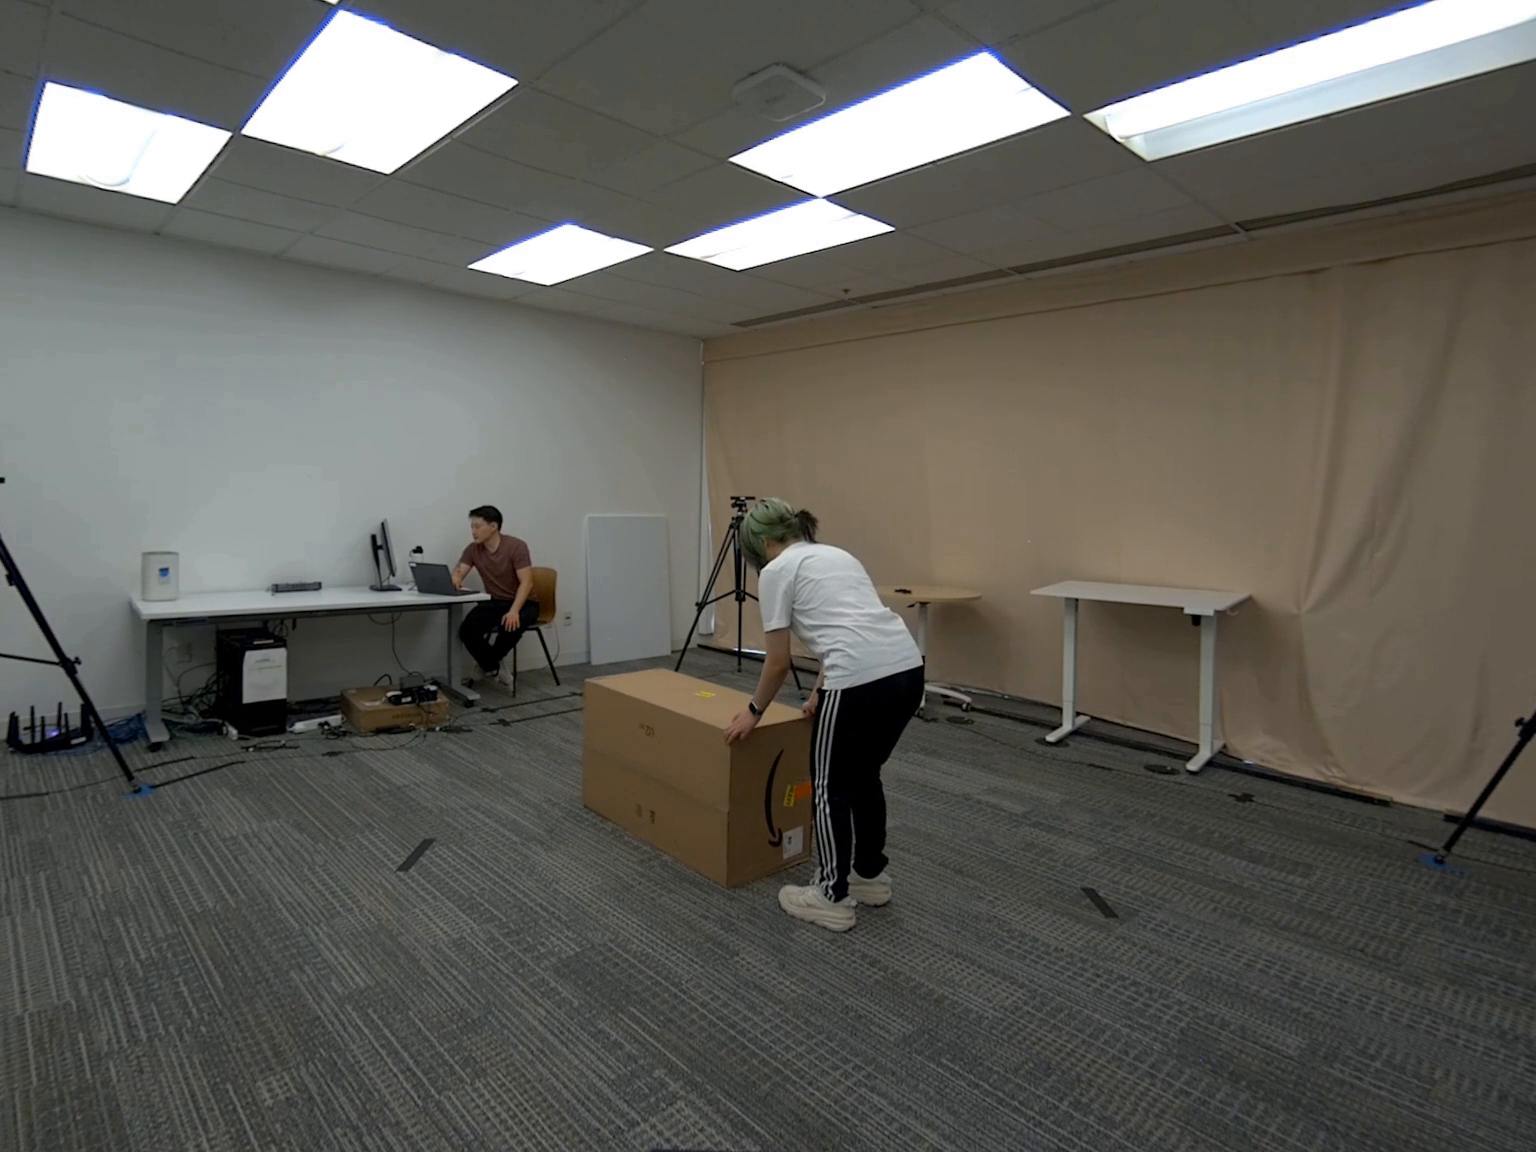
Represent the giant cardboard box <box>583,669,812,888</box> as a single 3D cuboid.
[{"bbox_3d":[-0.330,0.778,3.493,0.436,0.582,1.054,0,5,-41],"label":"giant cardboard box"}]
